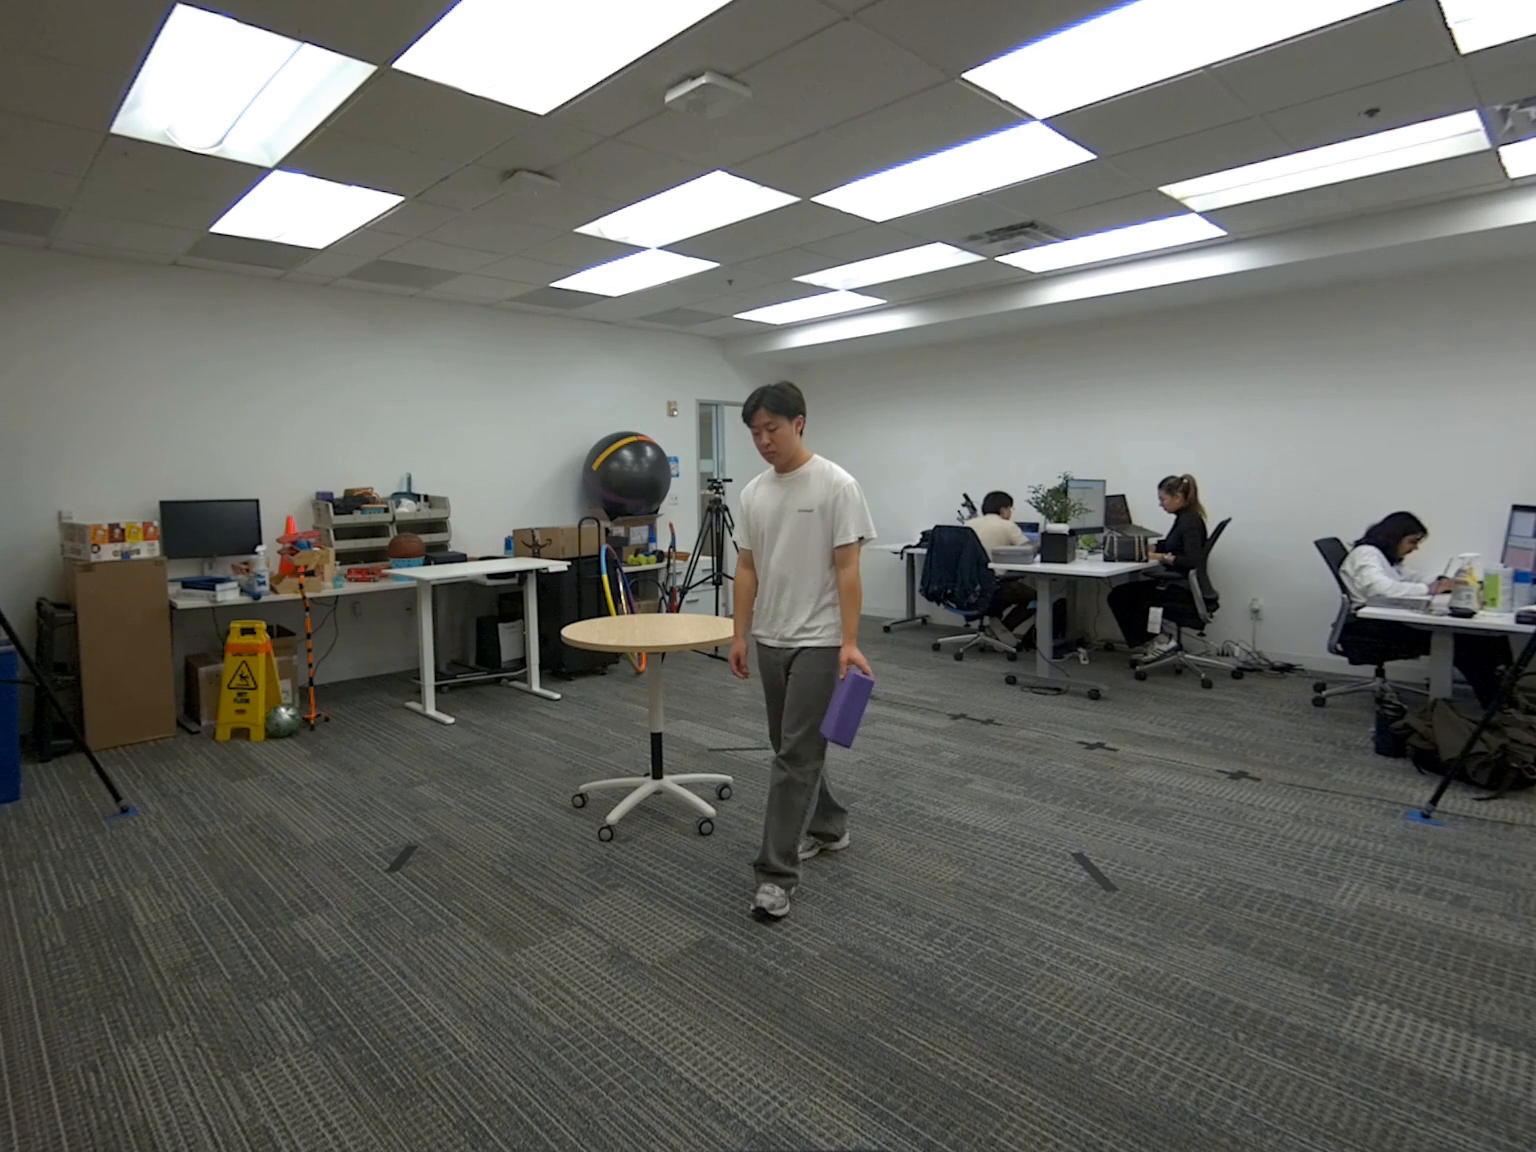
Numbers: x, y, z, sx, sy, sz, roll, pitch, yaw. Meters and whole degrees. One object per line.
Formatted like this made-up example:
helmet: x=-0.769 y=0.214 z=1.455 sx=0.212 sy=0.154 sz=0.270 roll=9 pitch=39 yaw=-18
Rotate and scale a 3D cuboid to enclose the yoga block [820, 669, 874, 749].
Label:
yoga block: x=0.240 y=0.417 z=2.715 sx=0.075 sy=0.230 sz=0.150 roll=18 pitch=-6 yaw=-12
